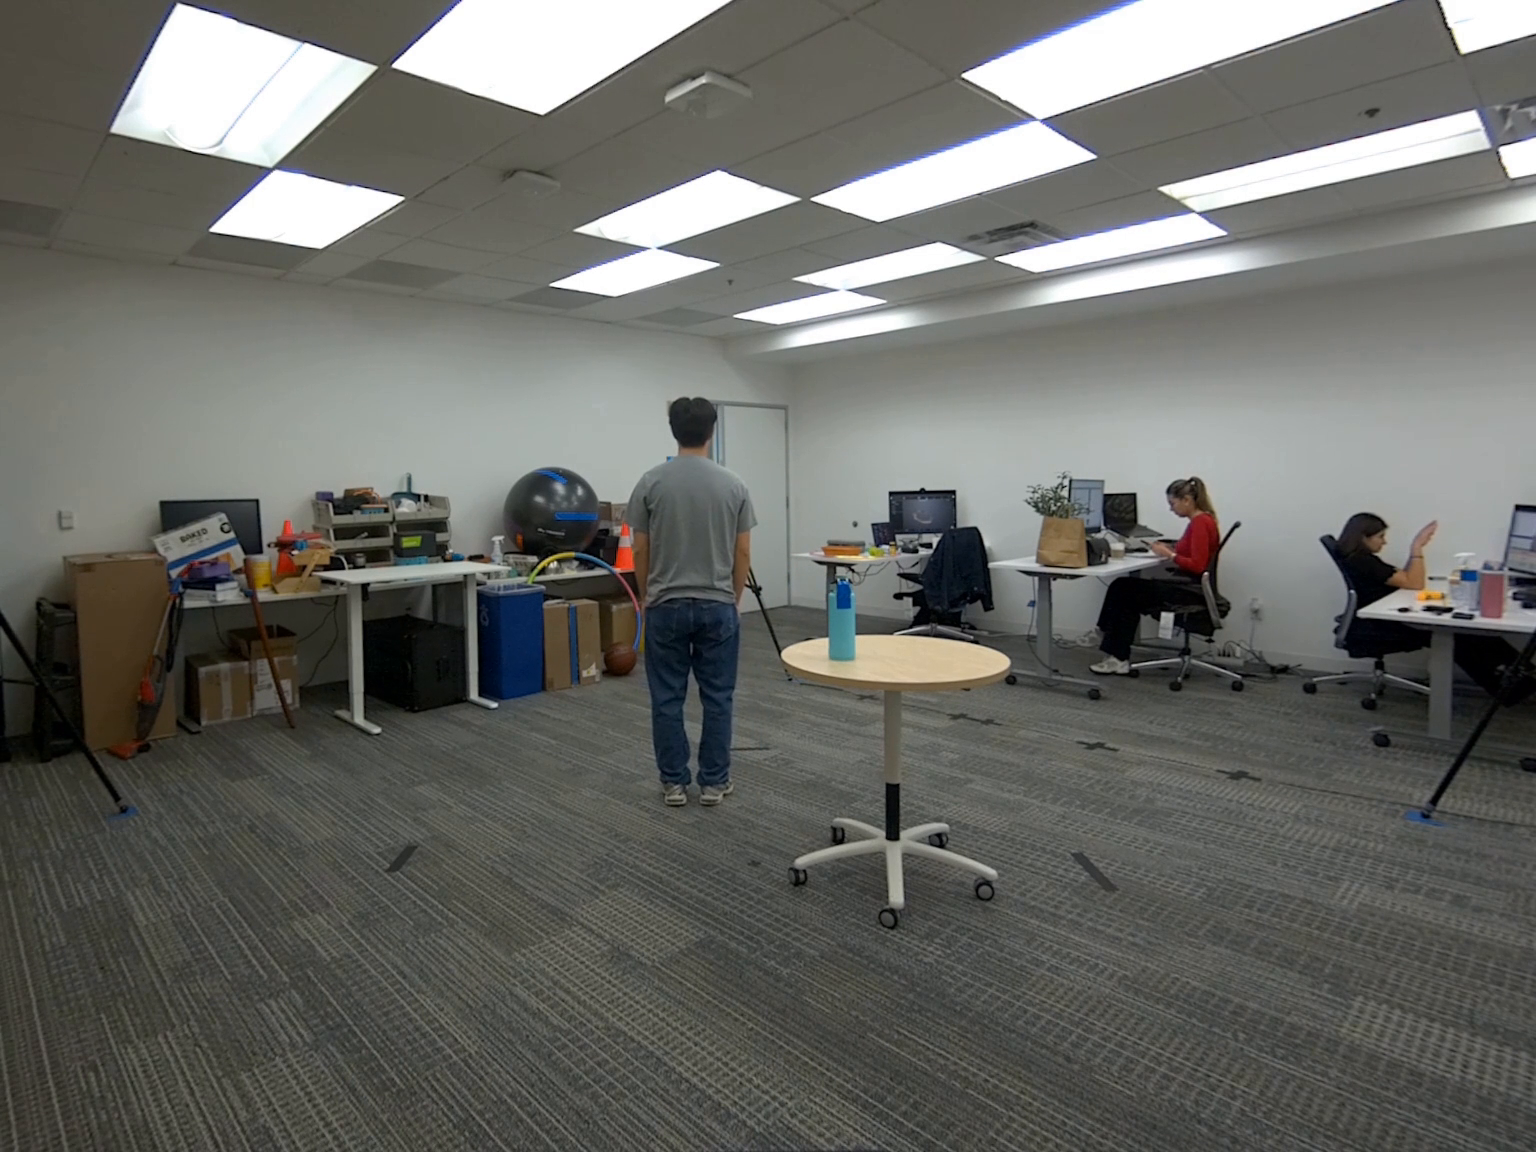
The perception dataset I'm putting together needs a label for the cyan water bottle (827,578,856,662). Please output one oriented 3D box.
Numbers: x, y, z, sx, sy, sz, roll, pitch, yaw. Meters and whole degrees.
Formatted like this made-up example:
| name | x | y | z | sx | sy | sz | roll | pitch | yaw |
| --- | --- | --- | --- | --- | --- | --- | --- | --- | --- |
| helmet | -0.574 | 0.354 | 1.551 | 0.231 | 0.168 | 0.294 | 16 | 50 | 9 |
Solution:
| name | x | y | z | sx | sy | sz | roll | pitch | yaw |
| --- | --- | --- | --- | --- | --- | --- | --- | --- | --- |
| cyan water bottle | 0.257 | 0.141 | 2.879 | 0.092 | 0.282 | 0.093 | -2 | 5 | -1 |
